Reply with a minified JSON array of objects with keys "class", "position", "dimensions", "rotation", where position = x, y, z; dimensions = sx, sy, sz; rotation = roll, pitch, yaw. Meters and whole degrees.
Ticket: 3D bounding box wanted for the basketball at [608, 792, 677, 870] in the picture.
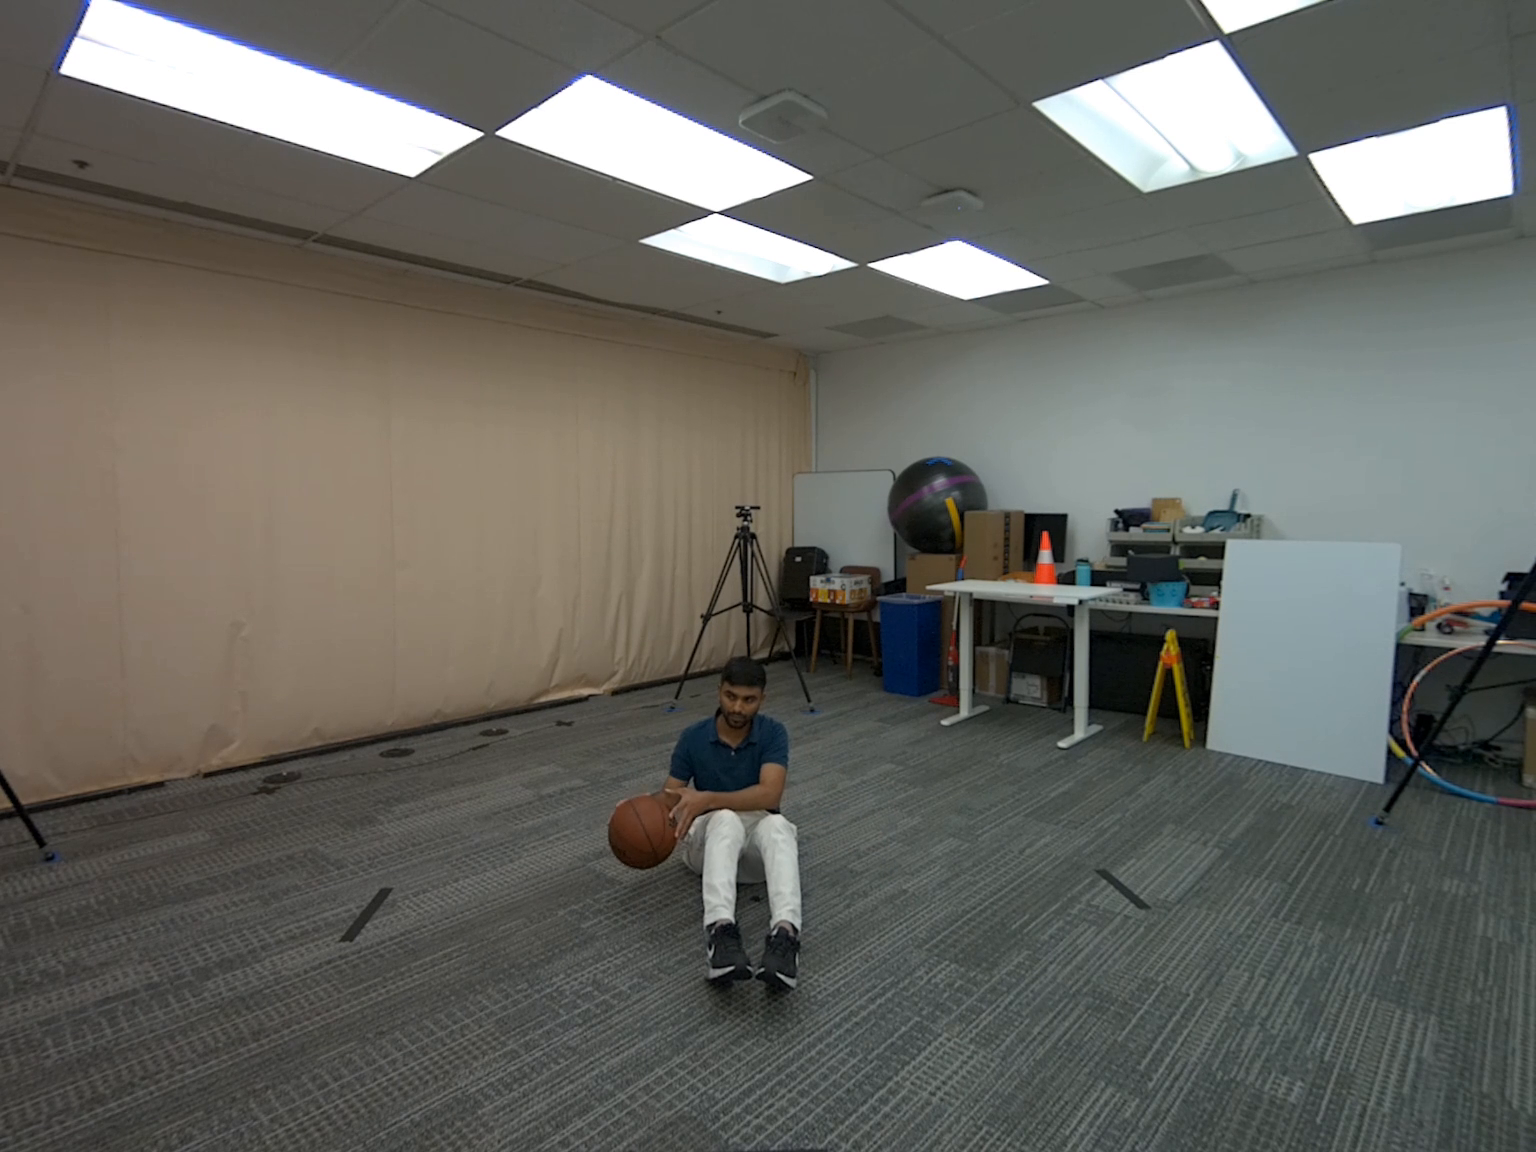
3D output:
[{"class":"basketball","position":[-0.407,0.880,2.867],"dimensions":[0.236,0.235,0.237],"rotation":[0,4,-2]}]
